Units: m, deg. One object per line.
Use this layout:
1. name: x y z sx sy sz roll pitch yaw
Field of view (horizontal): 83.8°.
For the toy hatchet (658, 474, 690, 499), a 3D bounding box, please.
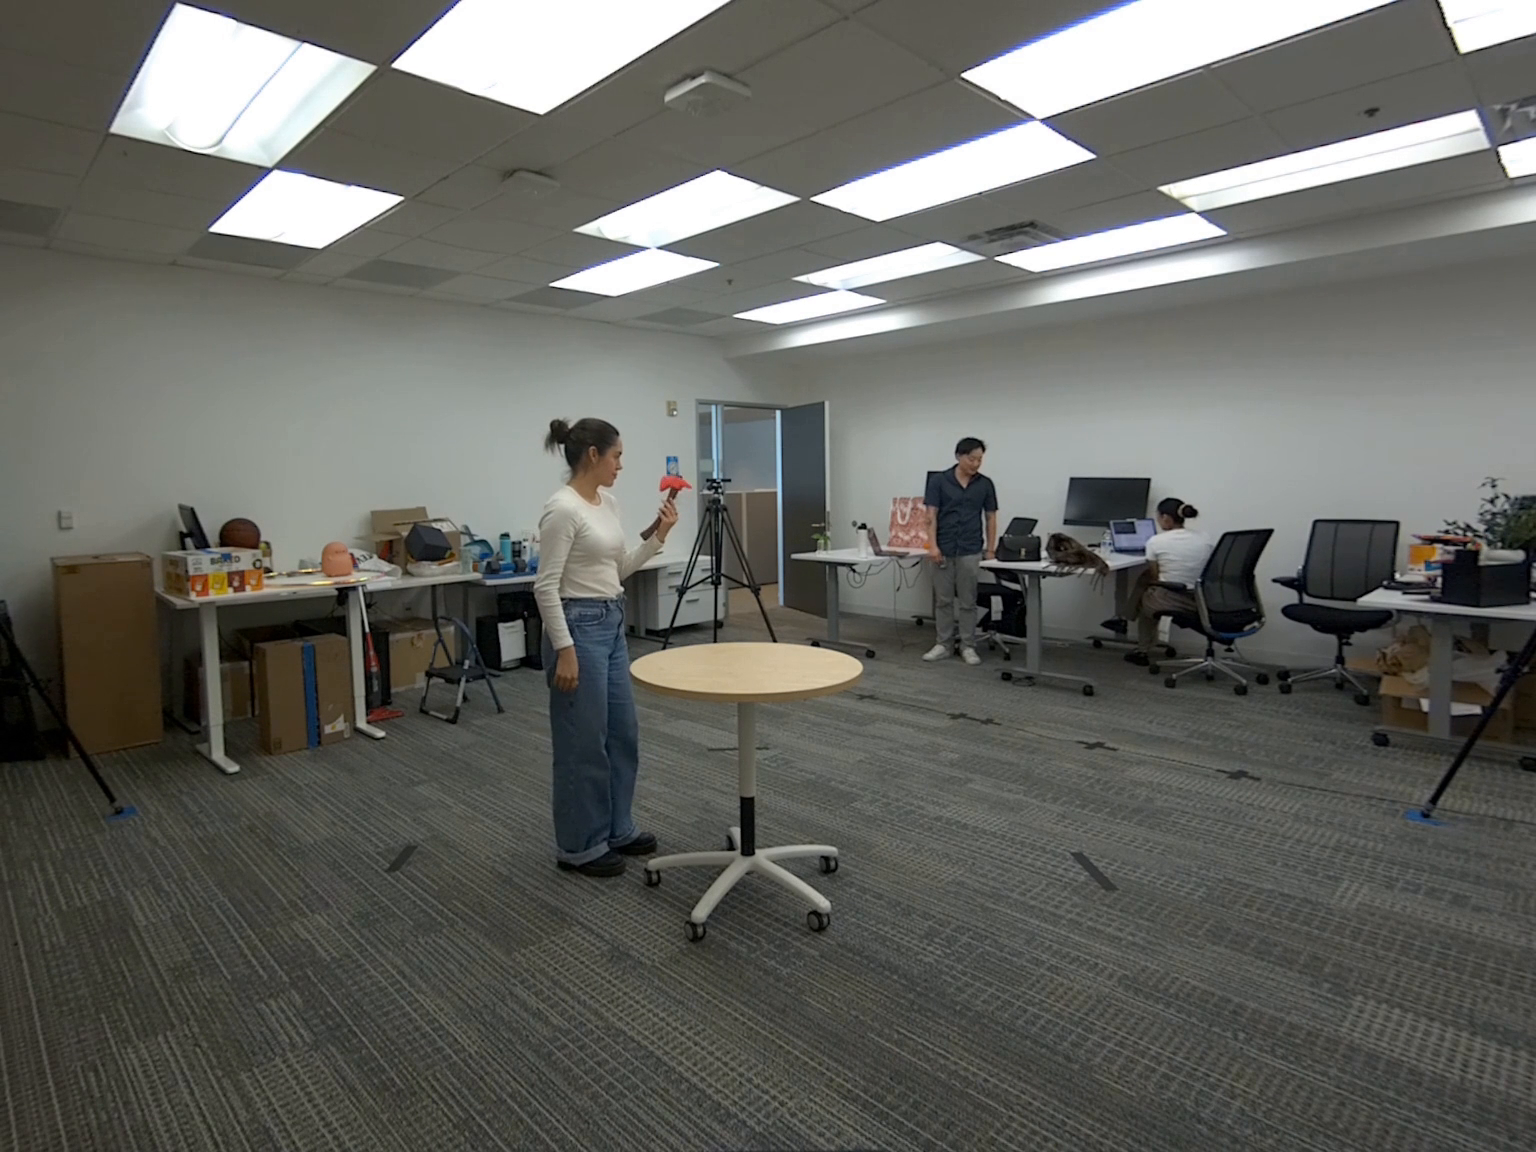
1. toy hatchet: -0.406 -0.269 3.164 0.135 0.270 0.029 41 -1 24
